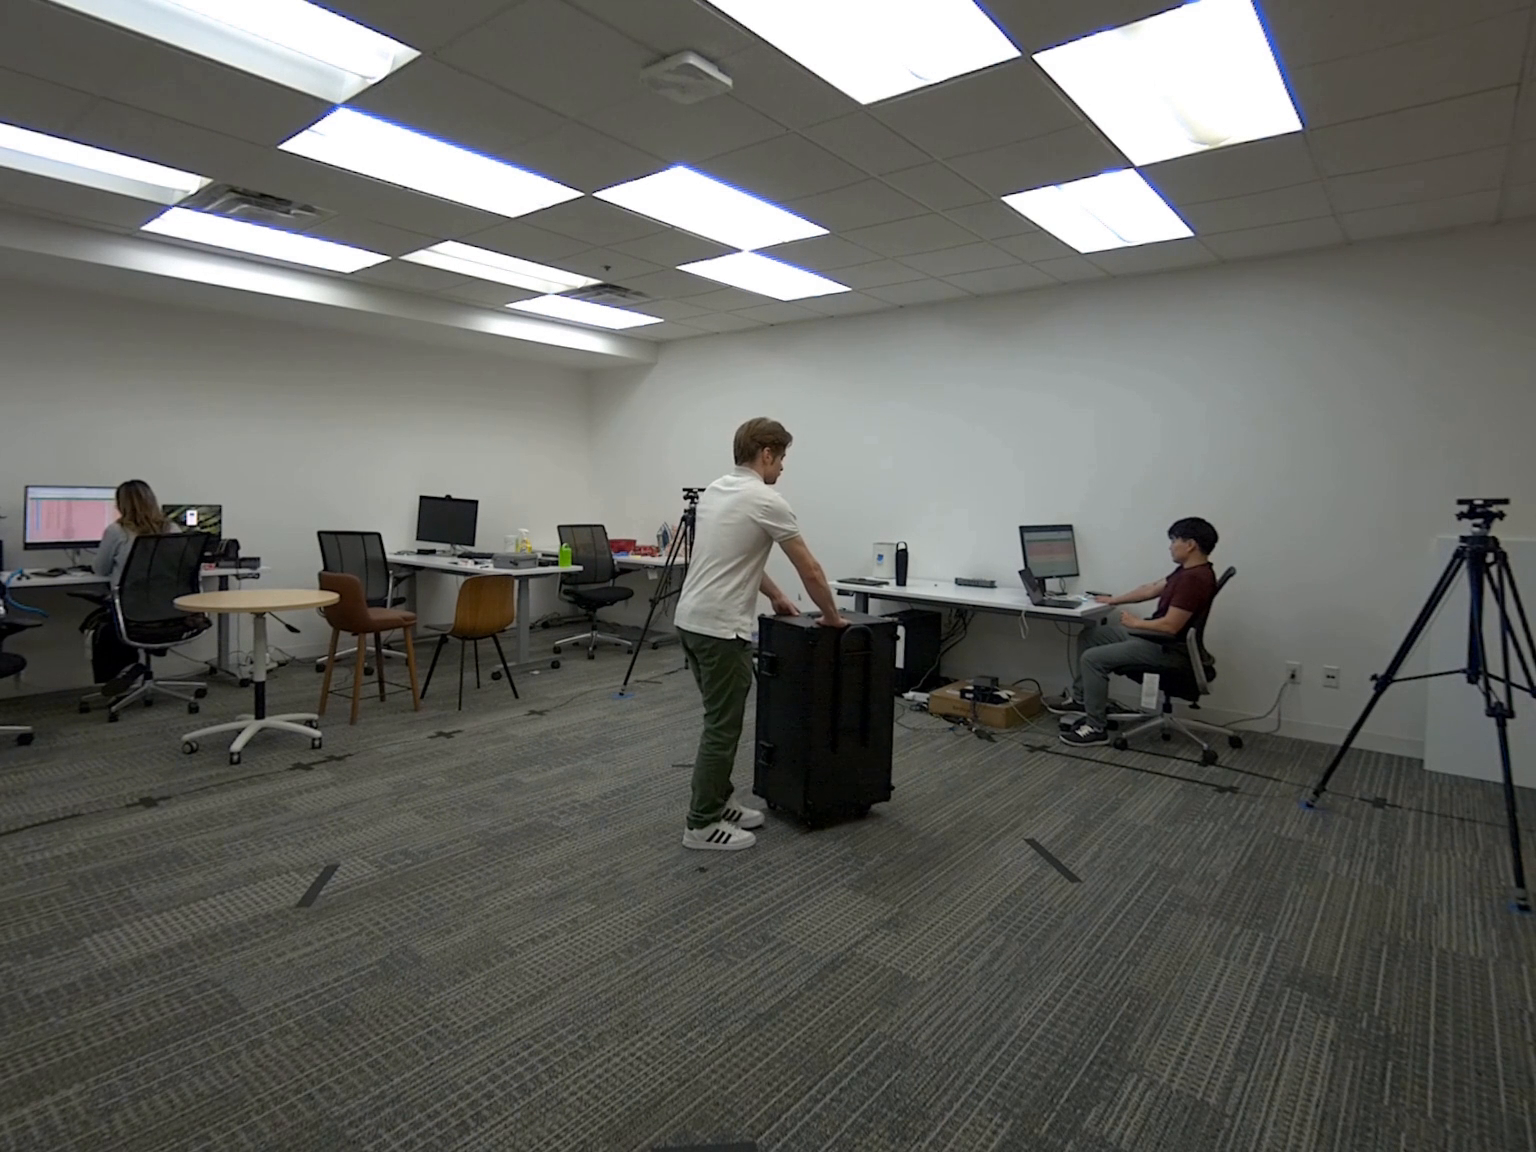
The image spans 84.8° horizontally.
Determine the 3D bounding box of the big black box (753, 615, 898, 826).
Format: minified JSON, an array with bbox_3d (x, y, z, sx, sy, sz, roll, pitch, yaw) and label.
[{"bbox_3d":[0.244,0.603,3.666,0.508,0.865,0.398,-1,5,-35],"label":"big black box"}]
